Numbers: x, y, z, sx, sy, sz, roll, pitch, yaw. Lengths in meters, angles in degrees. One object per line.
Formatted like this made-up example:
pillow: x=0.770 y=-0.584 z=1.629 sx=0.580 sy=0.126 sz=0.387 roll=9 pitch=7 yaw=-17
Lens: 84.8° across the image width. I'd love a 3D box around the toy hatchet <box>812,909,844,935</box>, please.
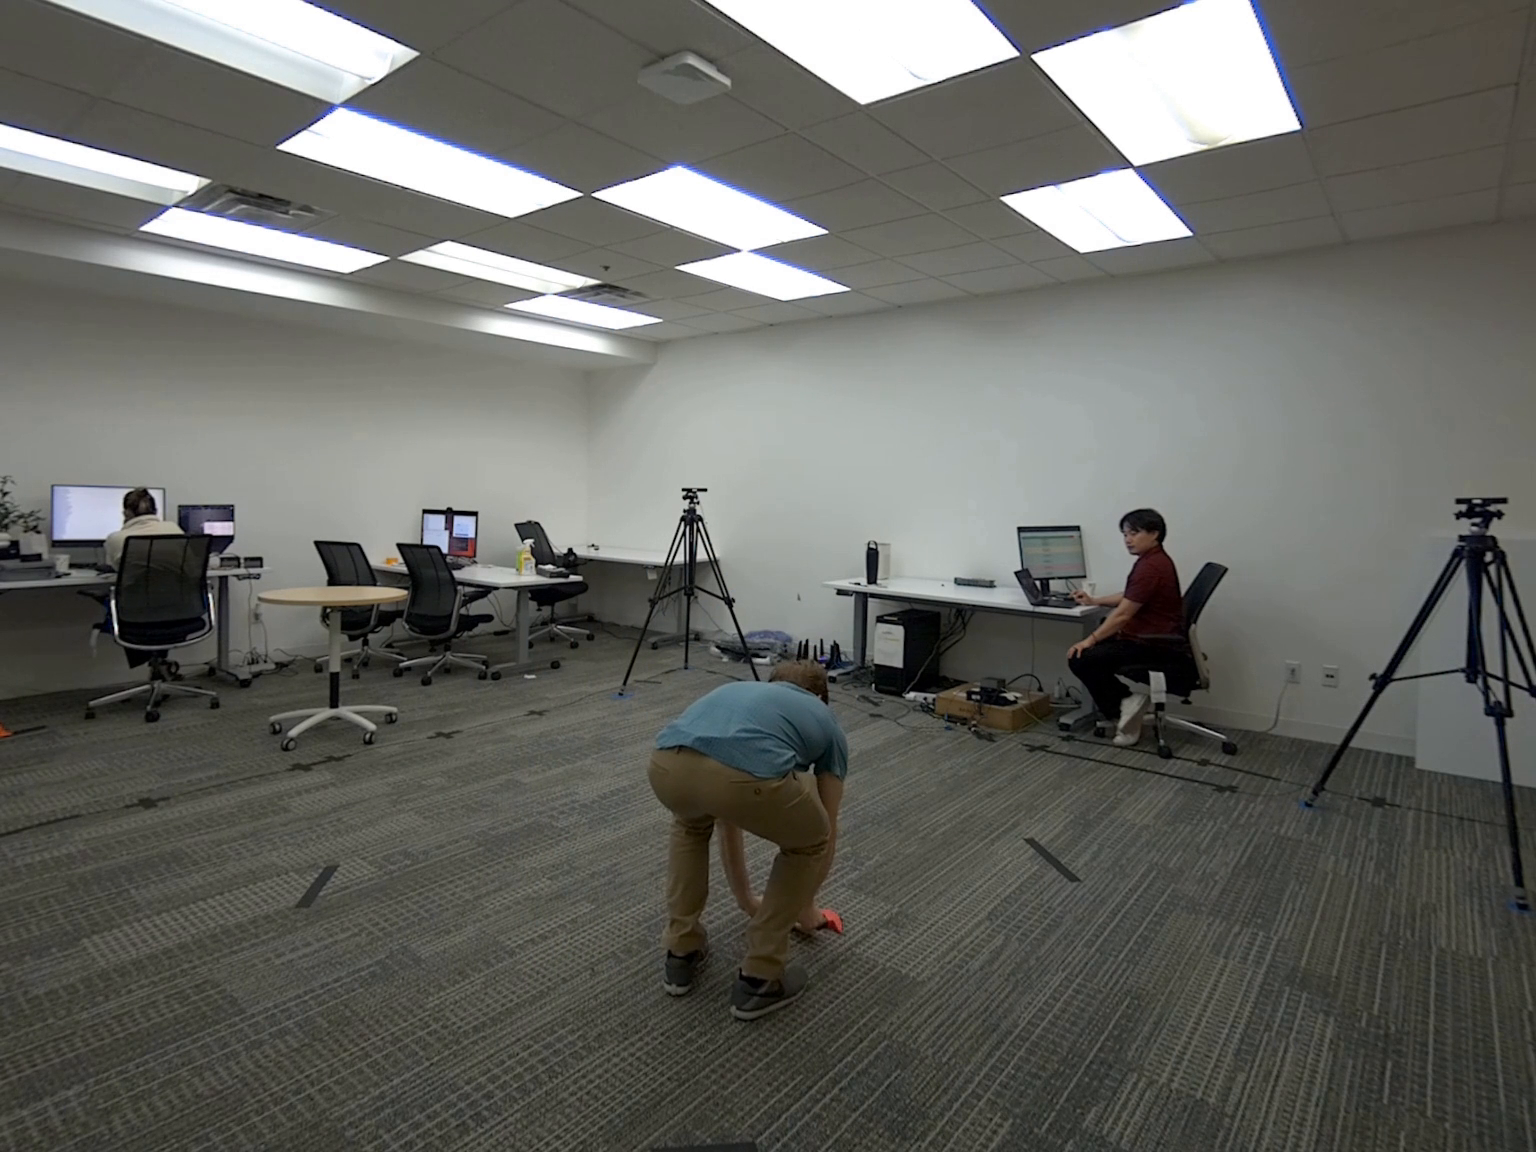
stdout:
toy hatchet: x=0.094 y=1.097 z=2.731 sx=0.271 sy=0.029 sz=0.132 roll=-1 pitch=10 yaw=3
